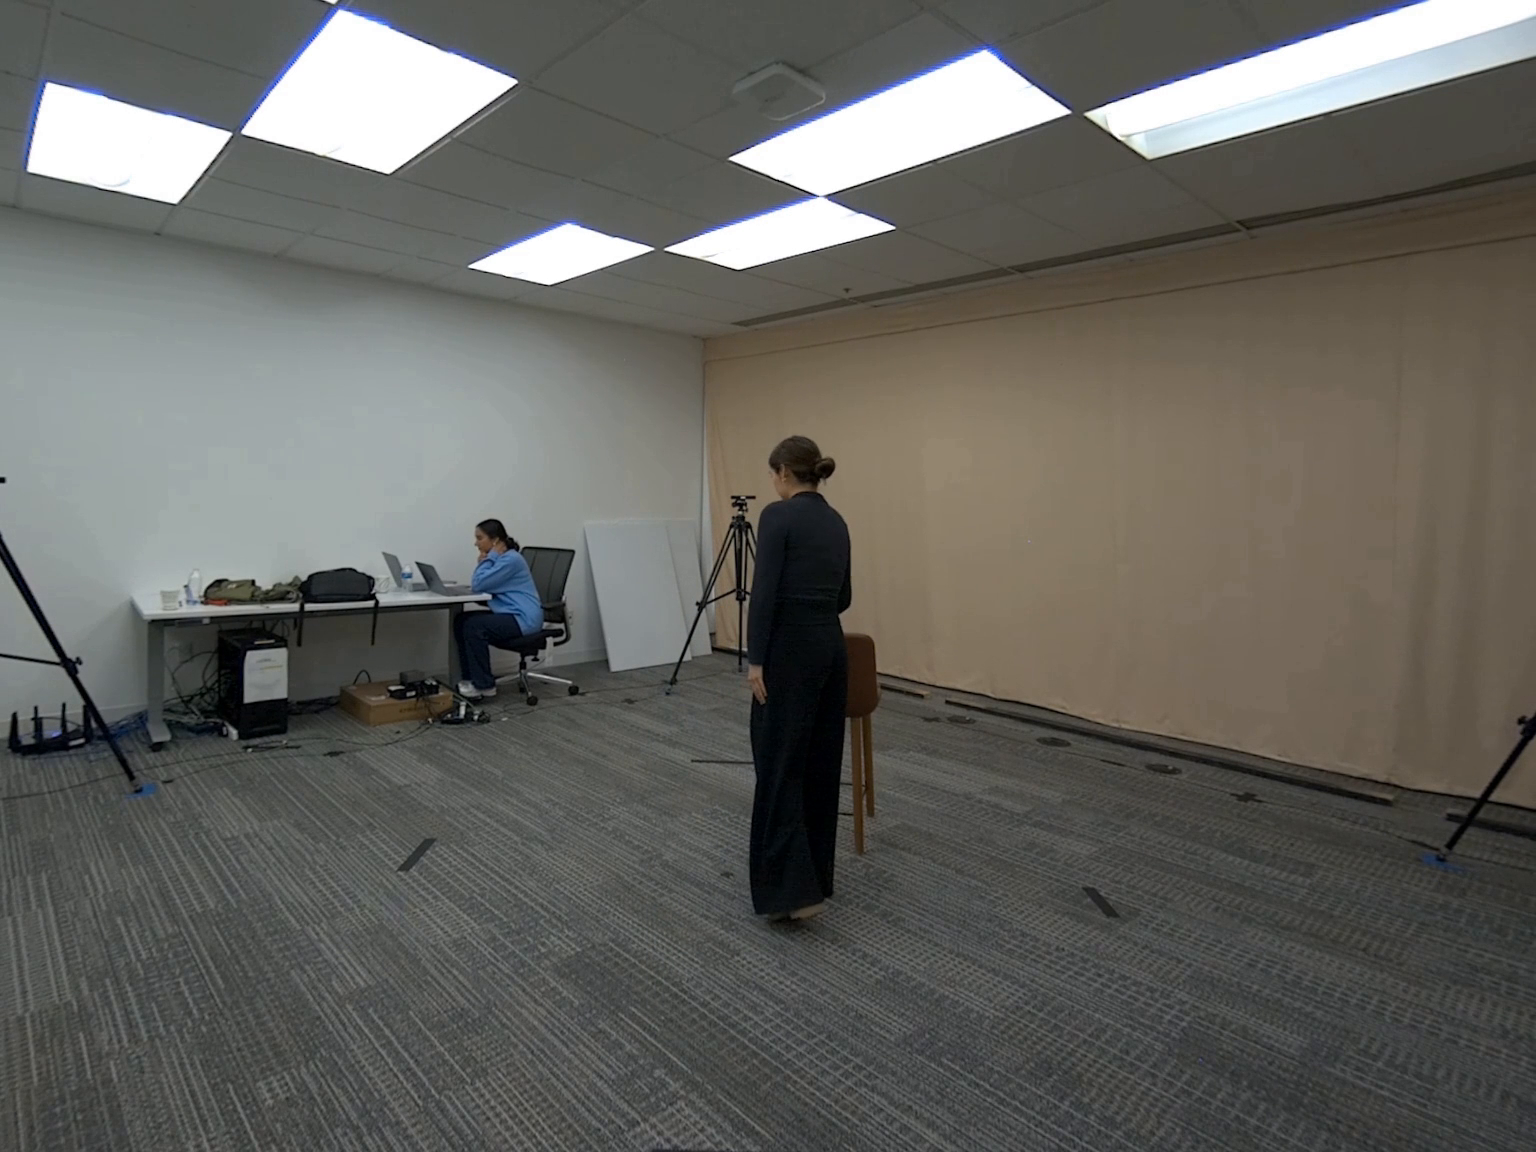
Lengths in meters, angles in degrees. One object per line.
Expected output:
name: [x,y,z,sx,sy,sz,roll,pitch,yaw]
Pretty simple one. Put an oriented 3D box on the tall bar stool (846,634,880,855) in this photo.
tall bar stool: [0.237,0.638,3.539,0.462,0.887,0.464,2,5,13]
